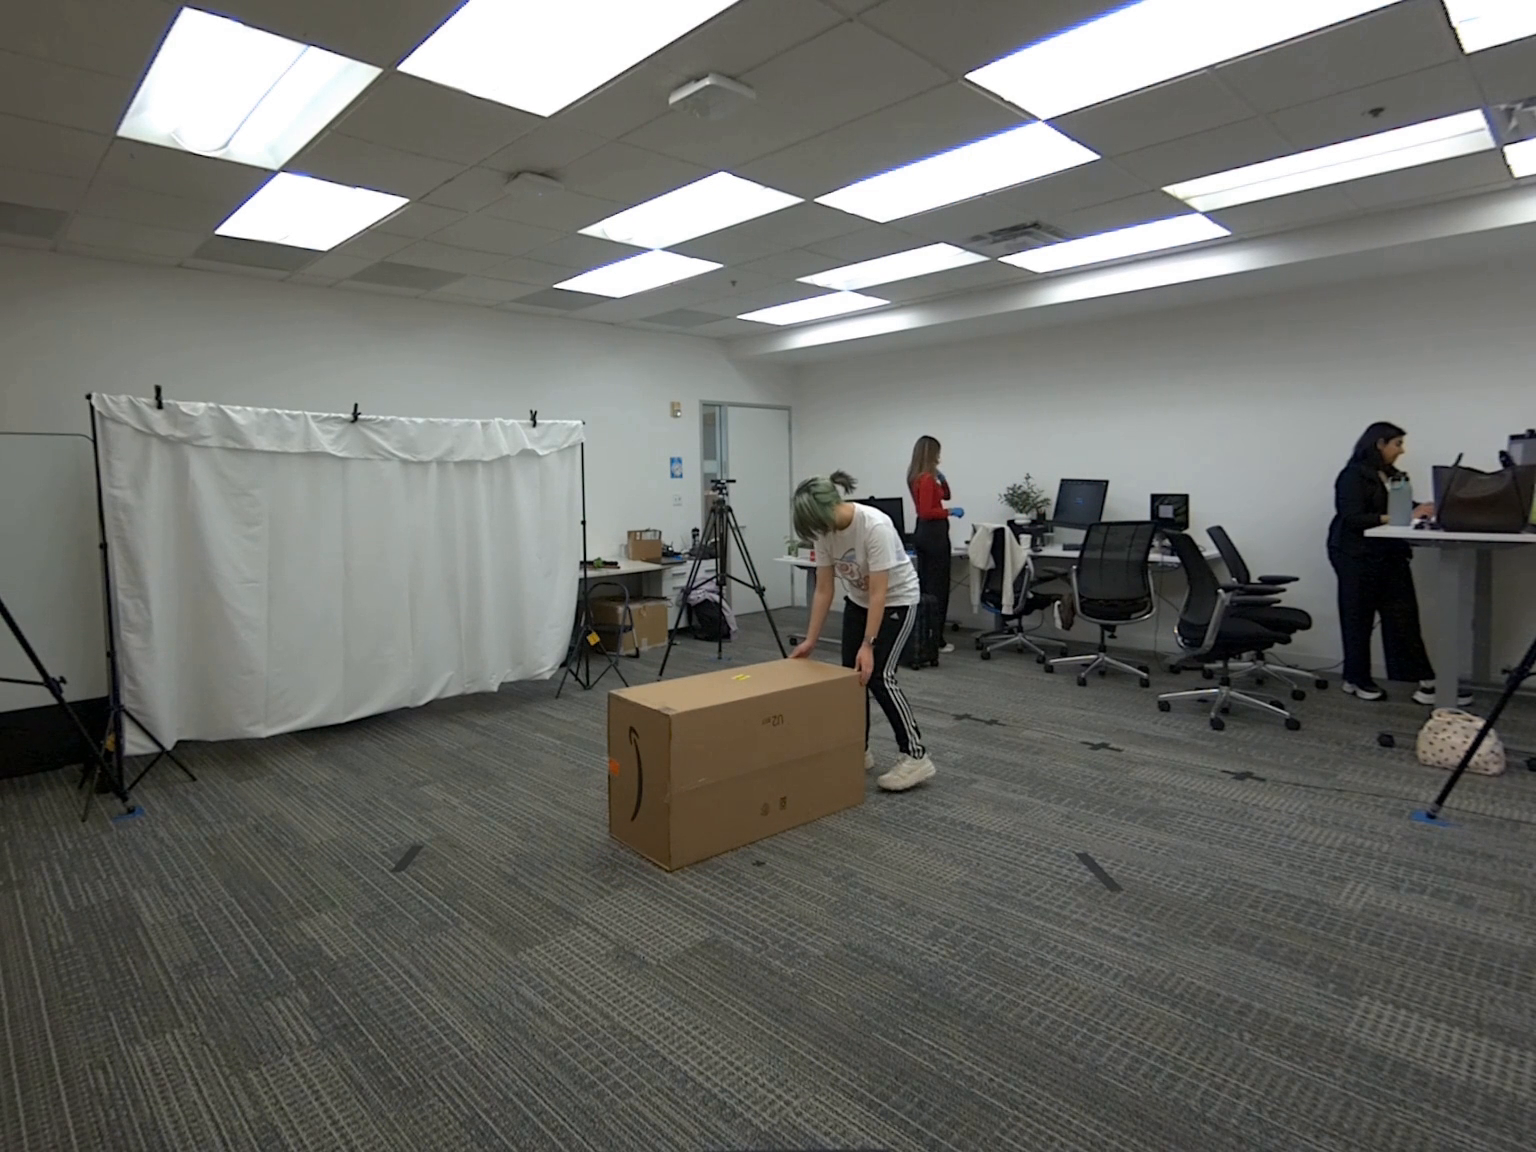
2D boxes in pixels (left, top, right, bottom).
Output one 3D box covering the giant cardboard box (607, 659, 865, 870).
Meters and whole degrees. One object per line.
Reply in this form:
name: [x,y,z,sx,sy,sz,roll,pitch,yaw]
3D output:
giant cardboard box: [-0.109,0.715,3.508,1.000,0.582,0.460,-5,5,-40]
